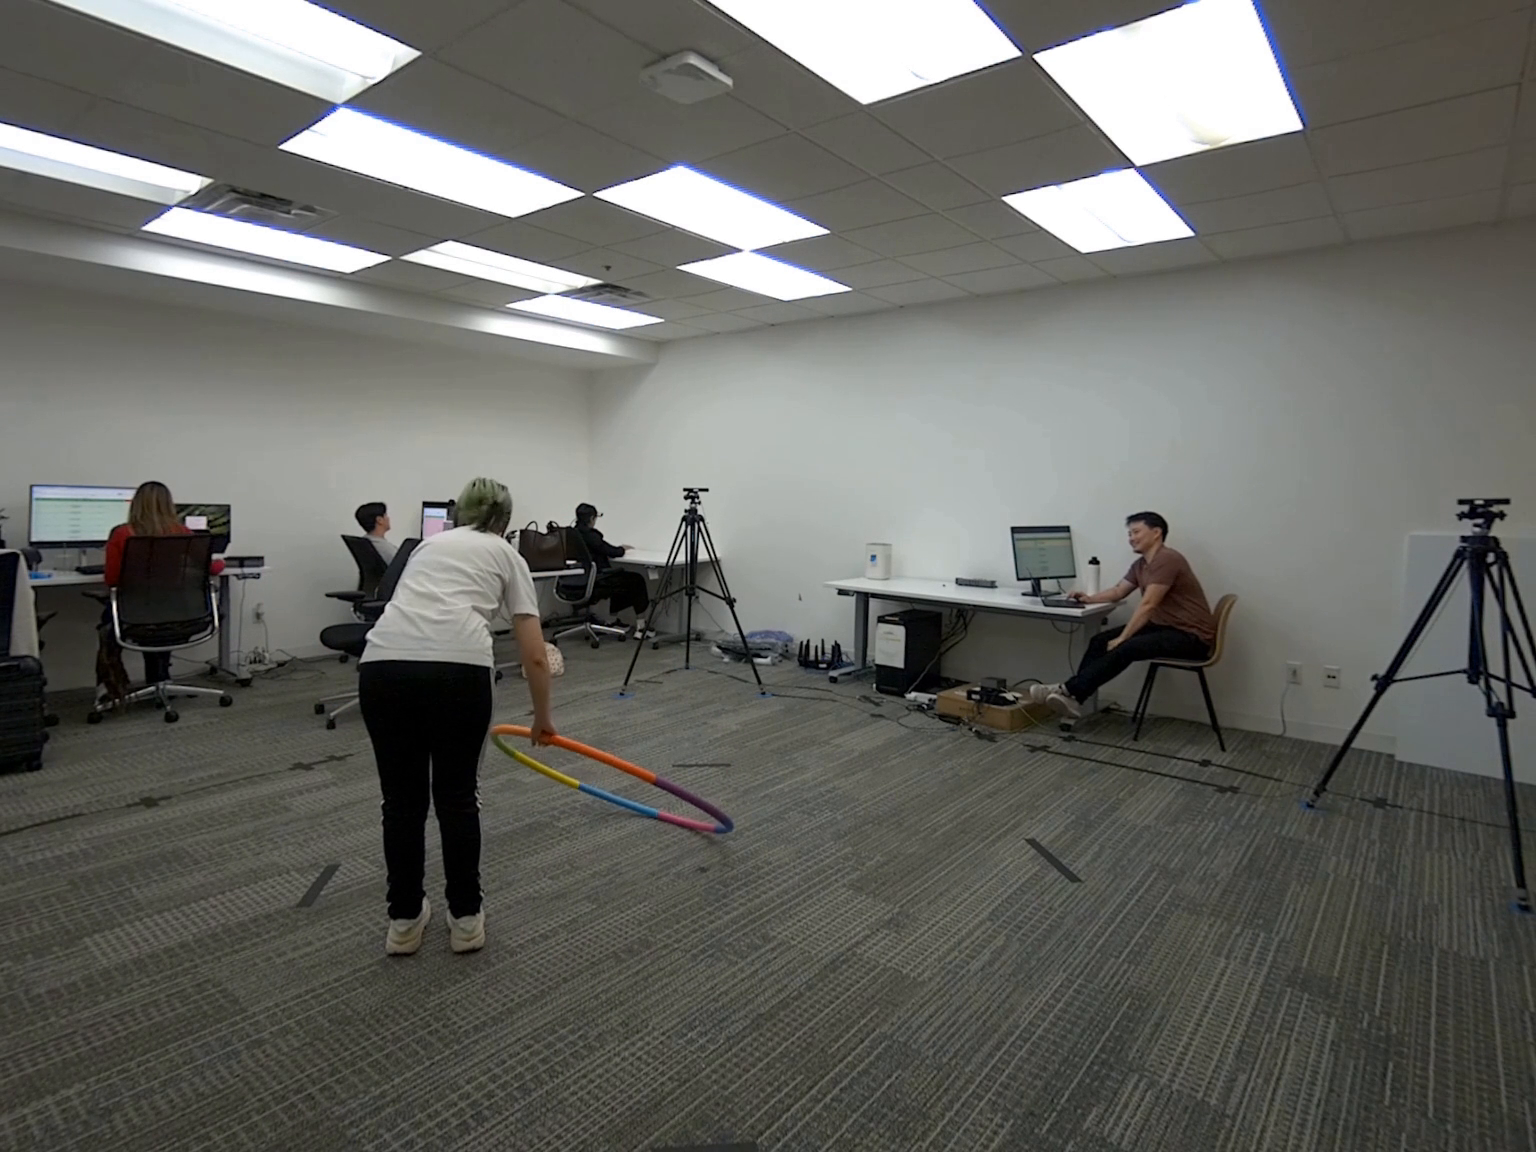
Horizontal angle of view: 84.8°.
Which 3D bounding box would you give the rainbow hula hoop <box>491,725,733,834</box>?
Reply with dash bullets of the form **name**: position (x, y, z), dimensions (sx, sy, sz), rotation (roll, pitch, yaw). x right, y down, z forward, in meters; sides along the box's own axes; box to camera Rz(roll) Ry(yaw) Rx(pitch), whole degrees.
- **rainbow hula hoop**: position (-0.606, 0.773, 3.199), dimensions (0.989, 0.036, 0.958), rotation (18, -23, 7)
